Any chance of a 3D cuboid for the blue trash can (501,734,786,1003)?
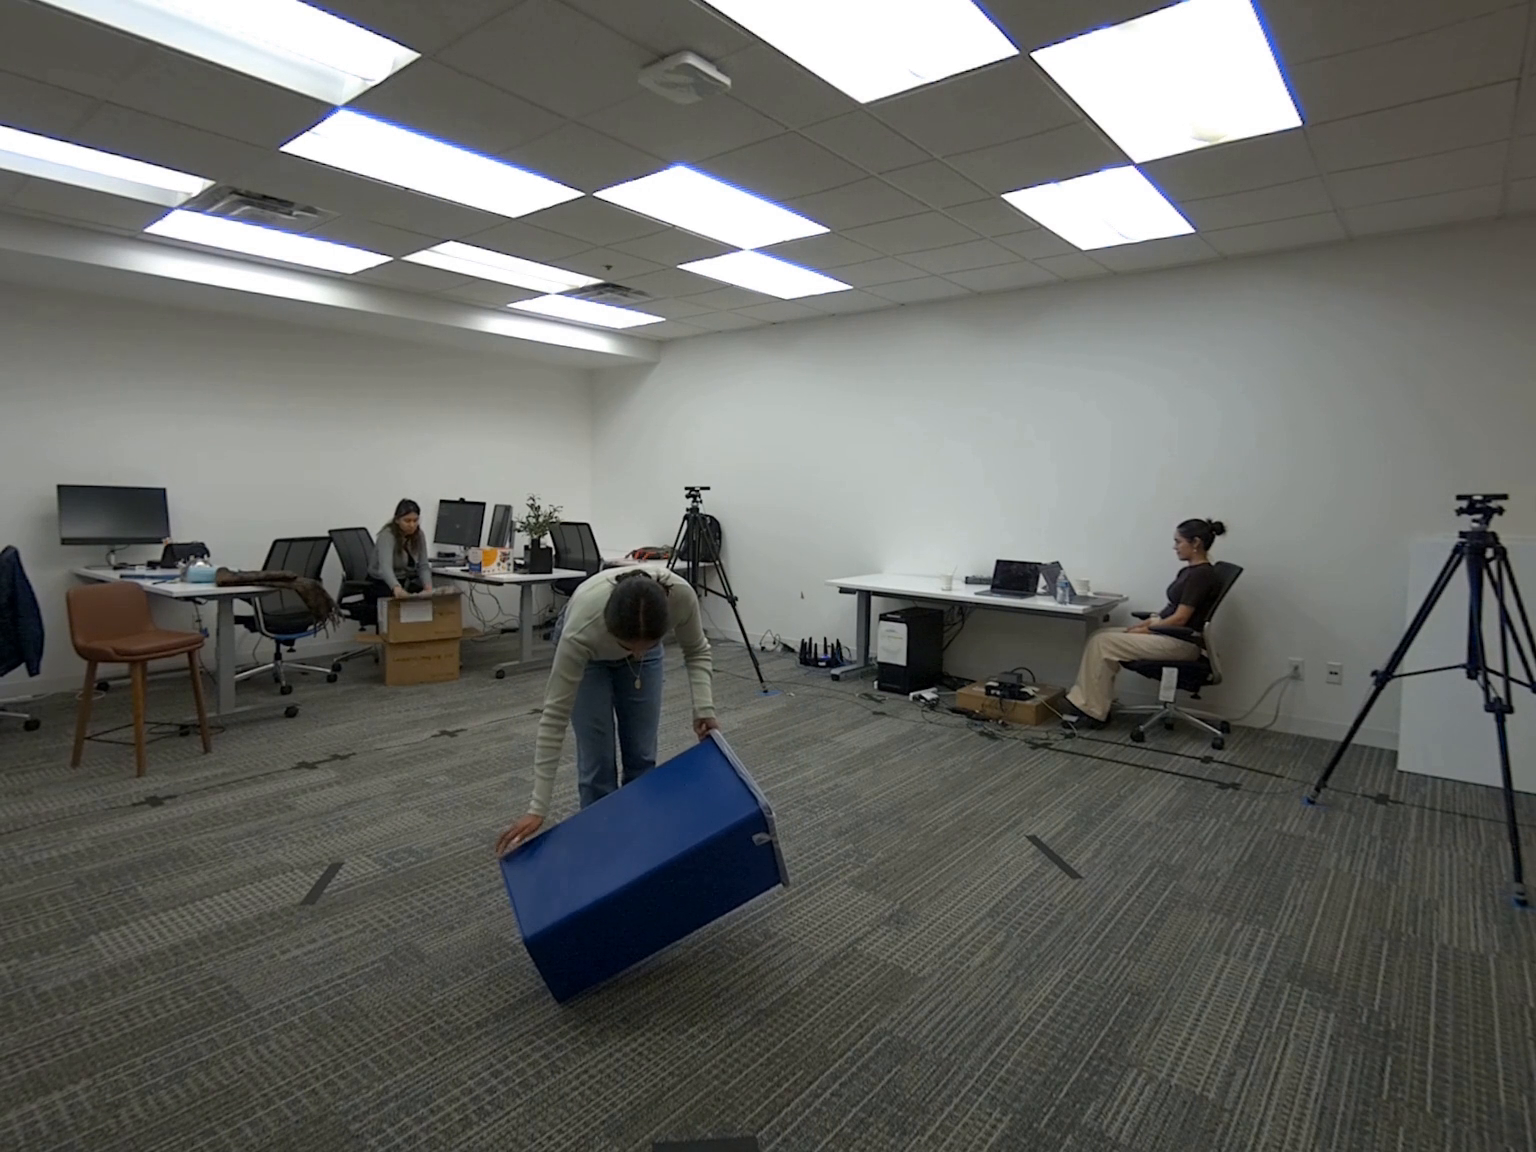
[{"bbox_3d":[-0.361,0.807,2.425,0.706,0.366,0.390,-24,35,-17],"label":"blue trash can"}]
